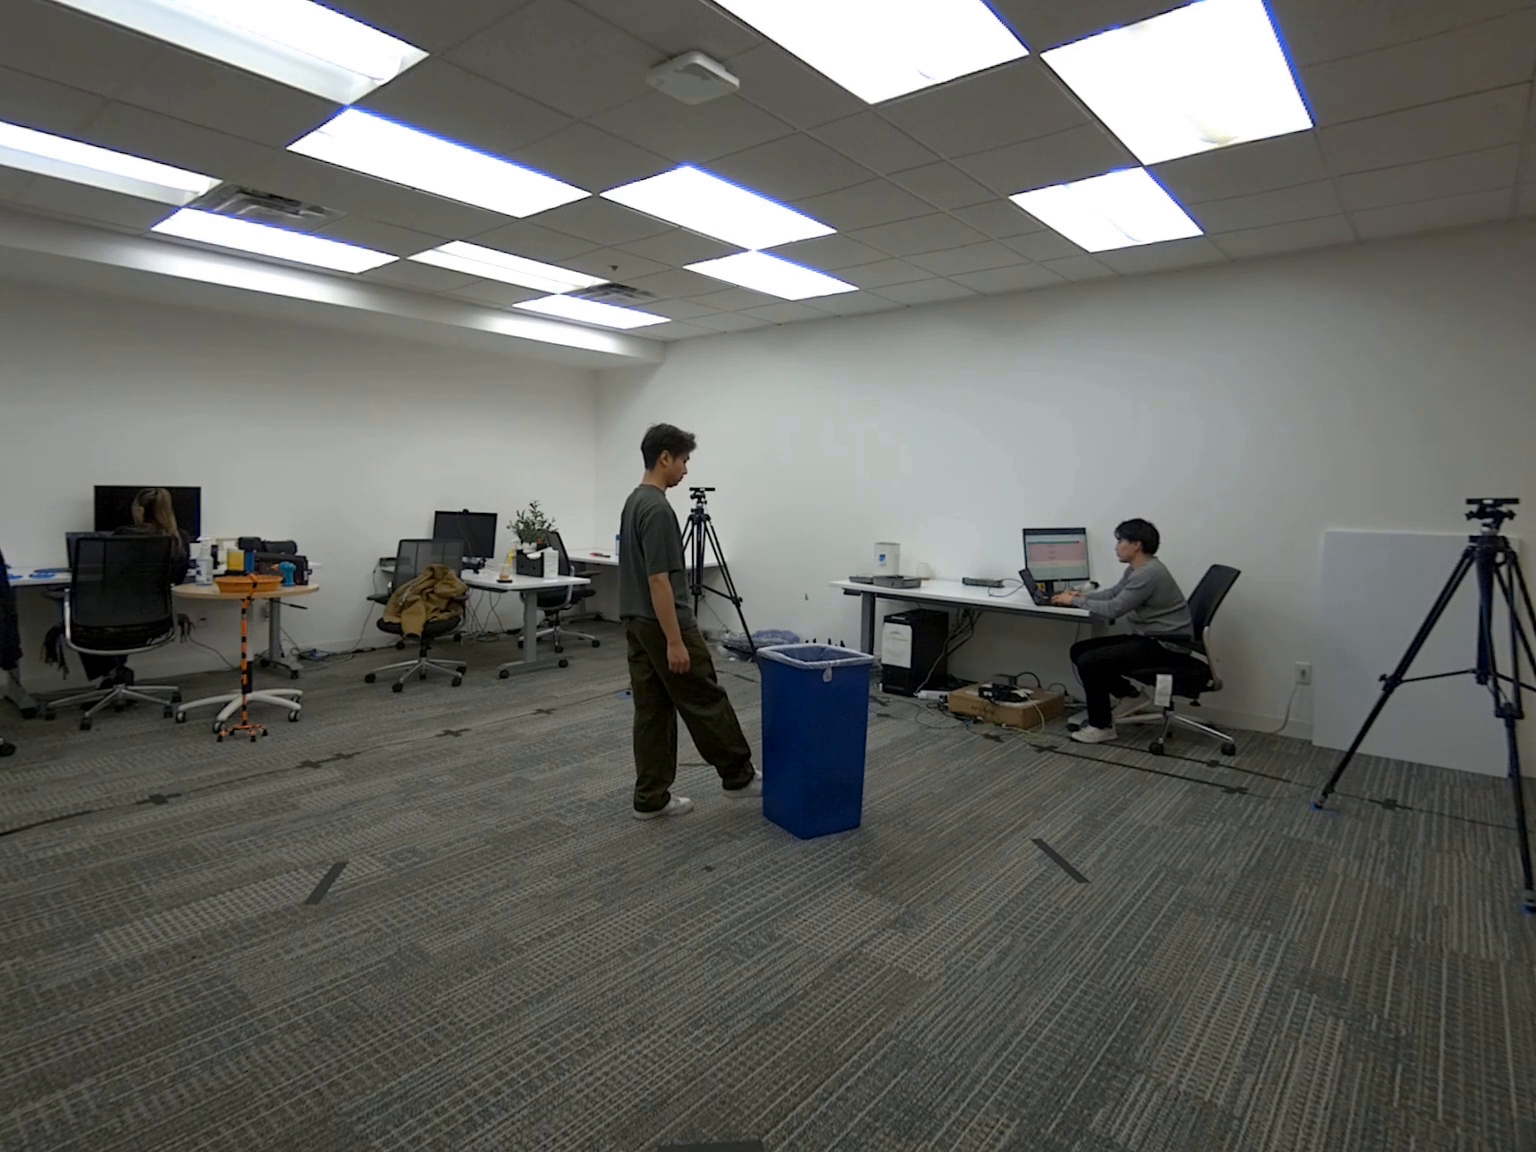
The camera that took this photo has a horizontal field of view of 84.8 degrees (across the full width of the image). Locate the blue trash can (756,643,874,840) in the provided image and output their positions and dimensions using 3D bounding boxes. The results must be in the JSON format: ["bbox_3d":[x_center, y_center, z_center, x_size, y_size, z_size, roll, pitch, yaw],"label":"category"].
[{"bbox_3d":[0.178,0.672,3.557,0.363,0.712,0.390,0,3,-35],"label":"blue trash can"}]
